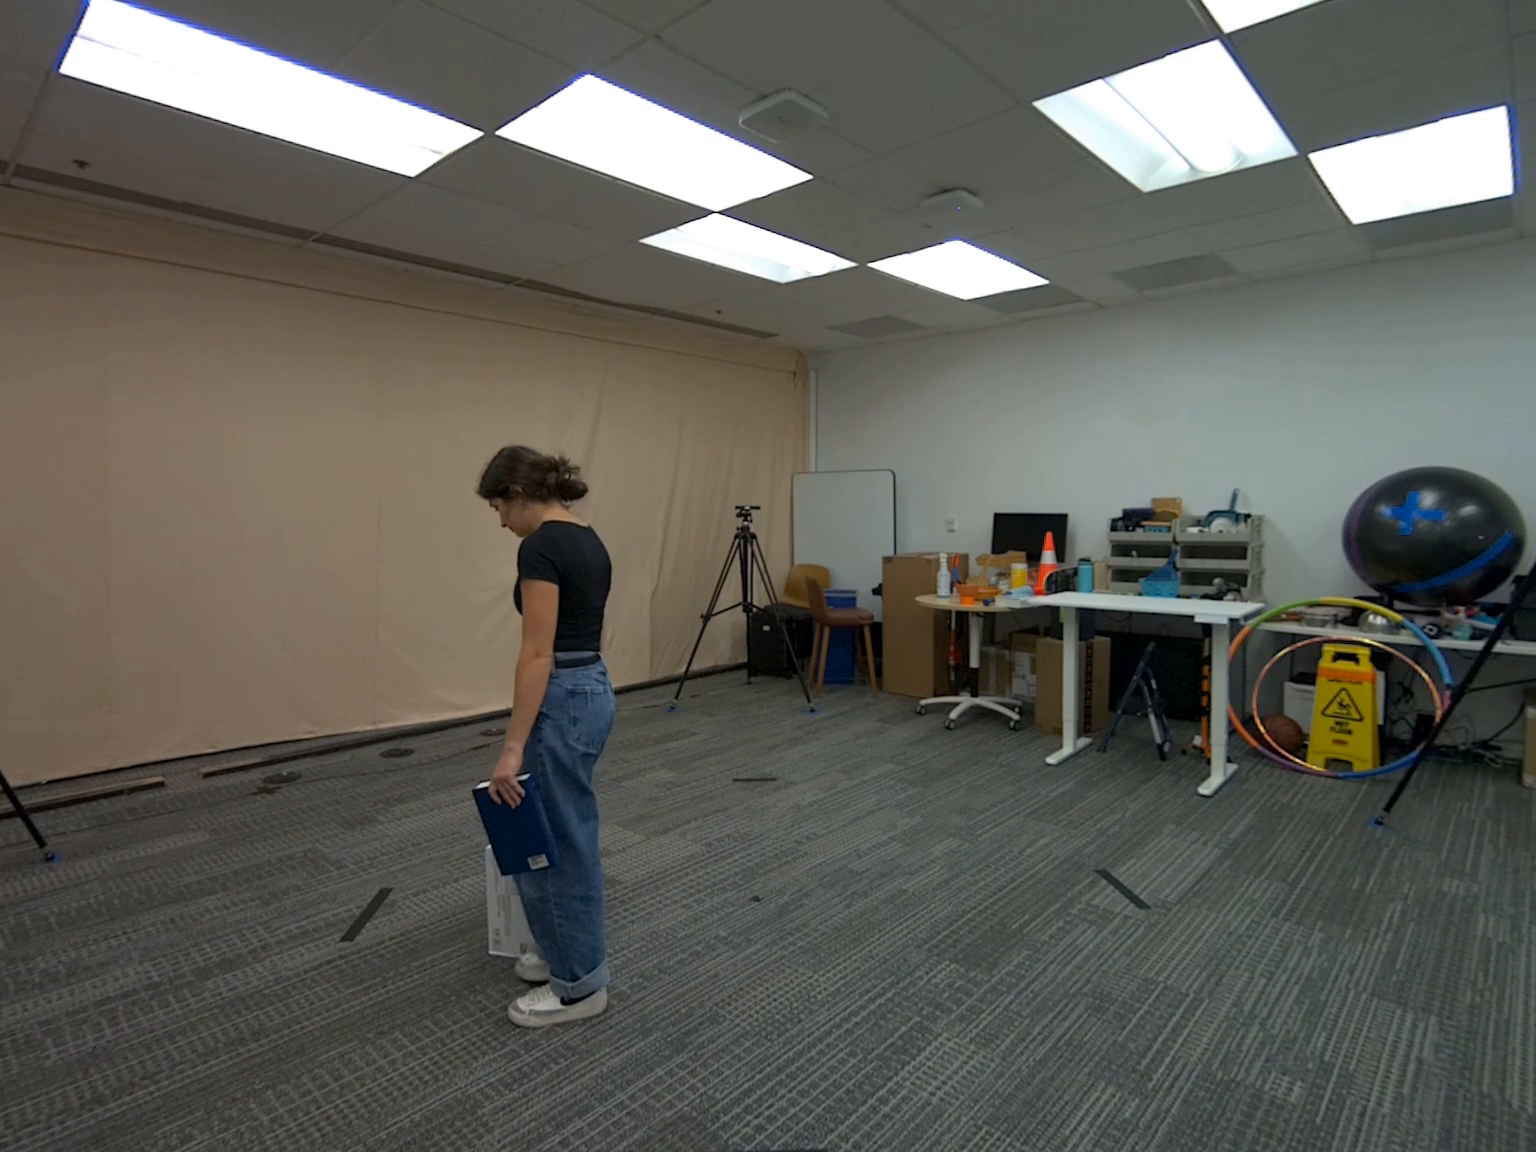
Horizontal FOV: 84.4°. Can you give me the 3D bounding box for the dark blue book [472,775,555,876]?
[{"bbox_3d":[-0.637,0.626,2.142,0.166,0.243,0.045,-10,8,15],"label":"dark blue book"}]
